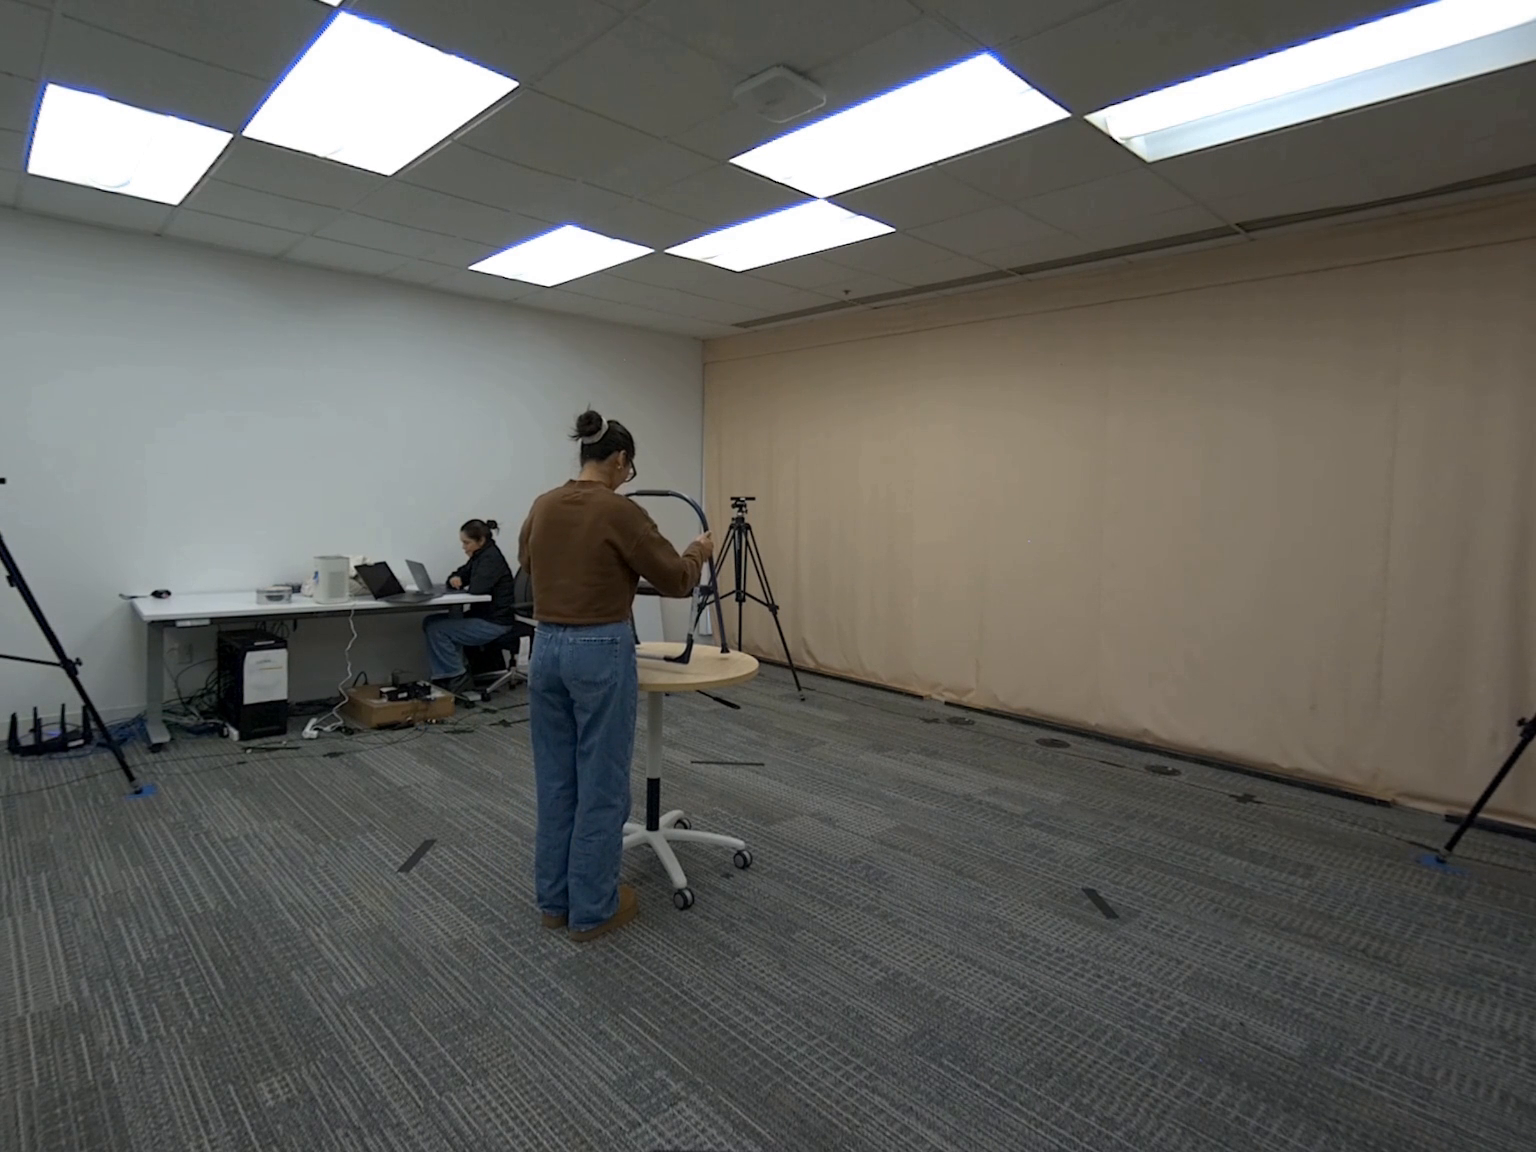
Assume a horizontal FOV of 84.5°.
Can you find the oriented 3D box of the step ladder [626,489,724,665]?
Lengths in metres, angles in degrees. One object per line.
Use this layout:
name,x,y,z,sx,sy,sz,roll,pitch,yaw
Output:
step ladder,-0.400,-0.007,3.136,0.438,0.605,0.343,2,2,24
